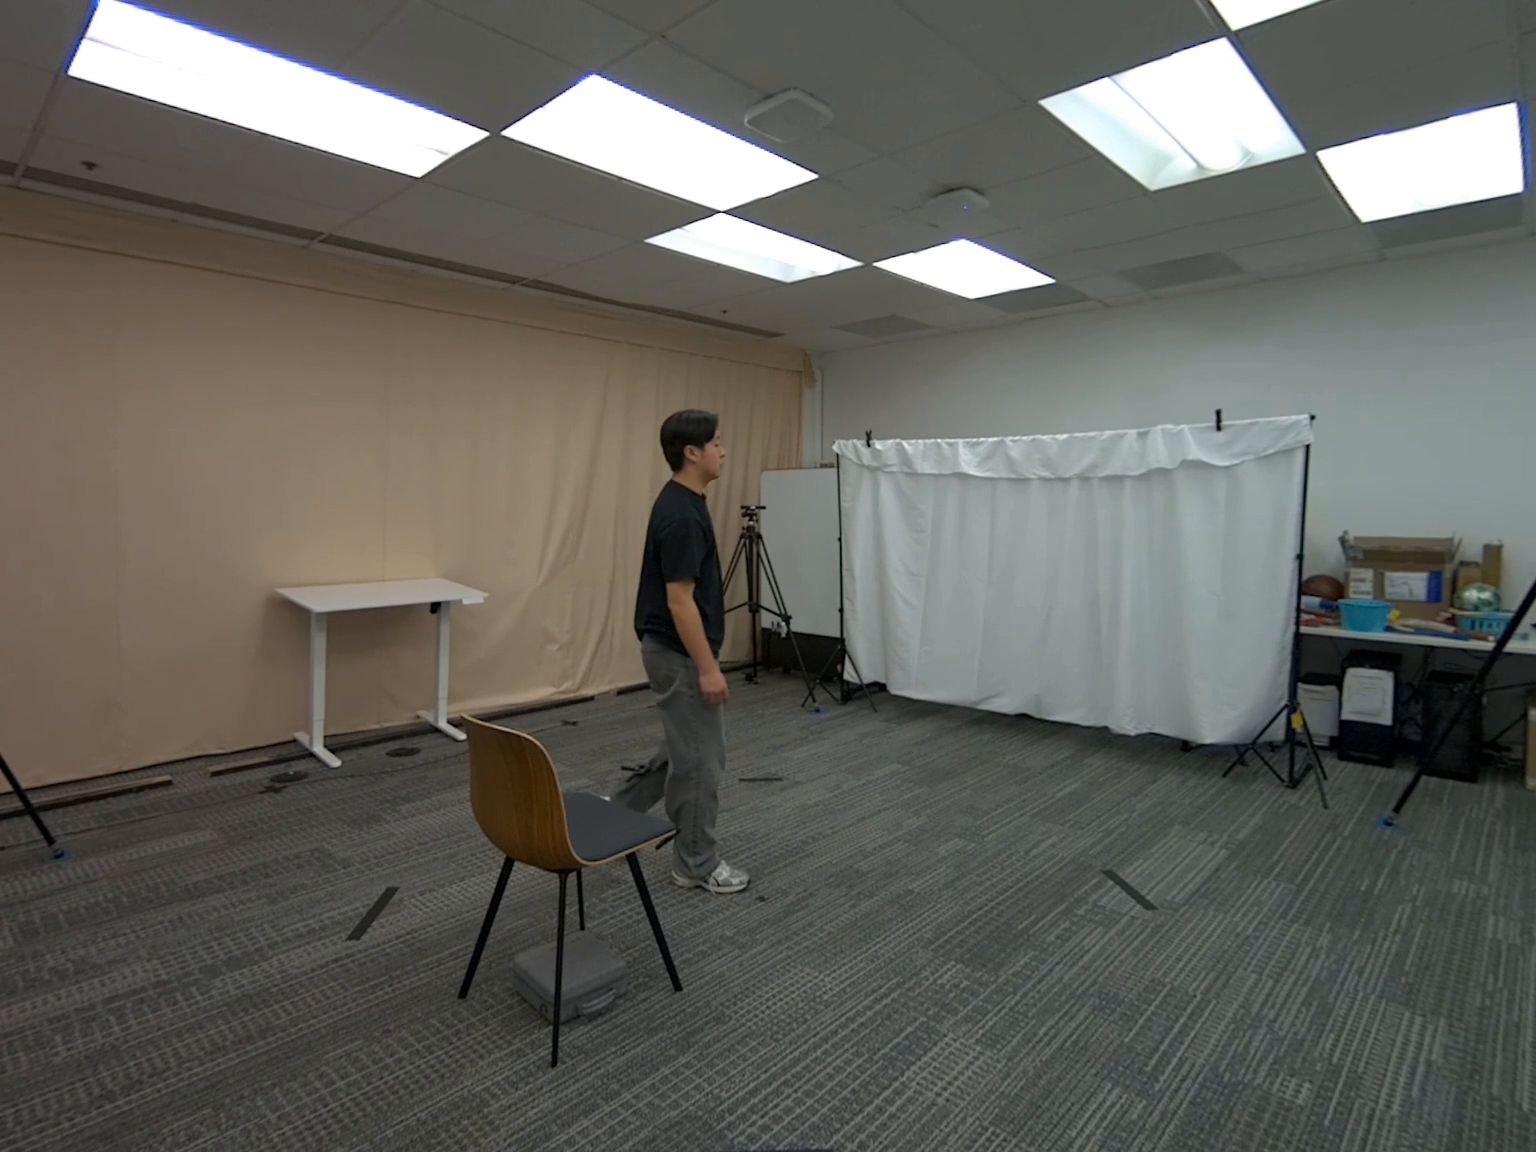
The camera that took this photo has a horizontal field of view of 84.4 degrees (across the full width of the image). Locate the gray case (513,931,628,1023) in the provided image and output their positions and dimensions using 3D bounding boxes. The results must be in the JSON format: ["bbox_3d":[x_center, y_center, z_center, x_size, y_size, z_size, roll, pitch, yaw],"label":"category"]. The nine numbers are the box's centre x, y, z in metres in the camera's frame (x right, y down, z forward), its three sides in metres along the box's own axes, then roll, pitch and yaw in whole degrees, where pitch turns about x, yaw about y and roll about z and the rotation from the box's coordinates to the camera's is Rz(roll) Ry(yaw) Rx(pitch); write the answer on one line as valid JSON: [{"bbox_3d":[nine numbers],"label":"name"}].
[{"bbox_3d":[-0.552,1.135,2.396,0.255,0.103,0.297,-5,7,-40],"label":"gray case"}]
